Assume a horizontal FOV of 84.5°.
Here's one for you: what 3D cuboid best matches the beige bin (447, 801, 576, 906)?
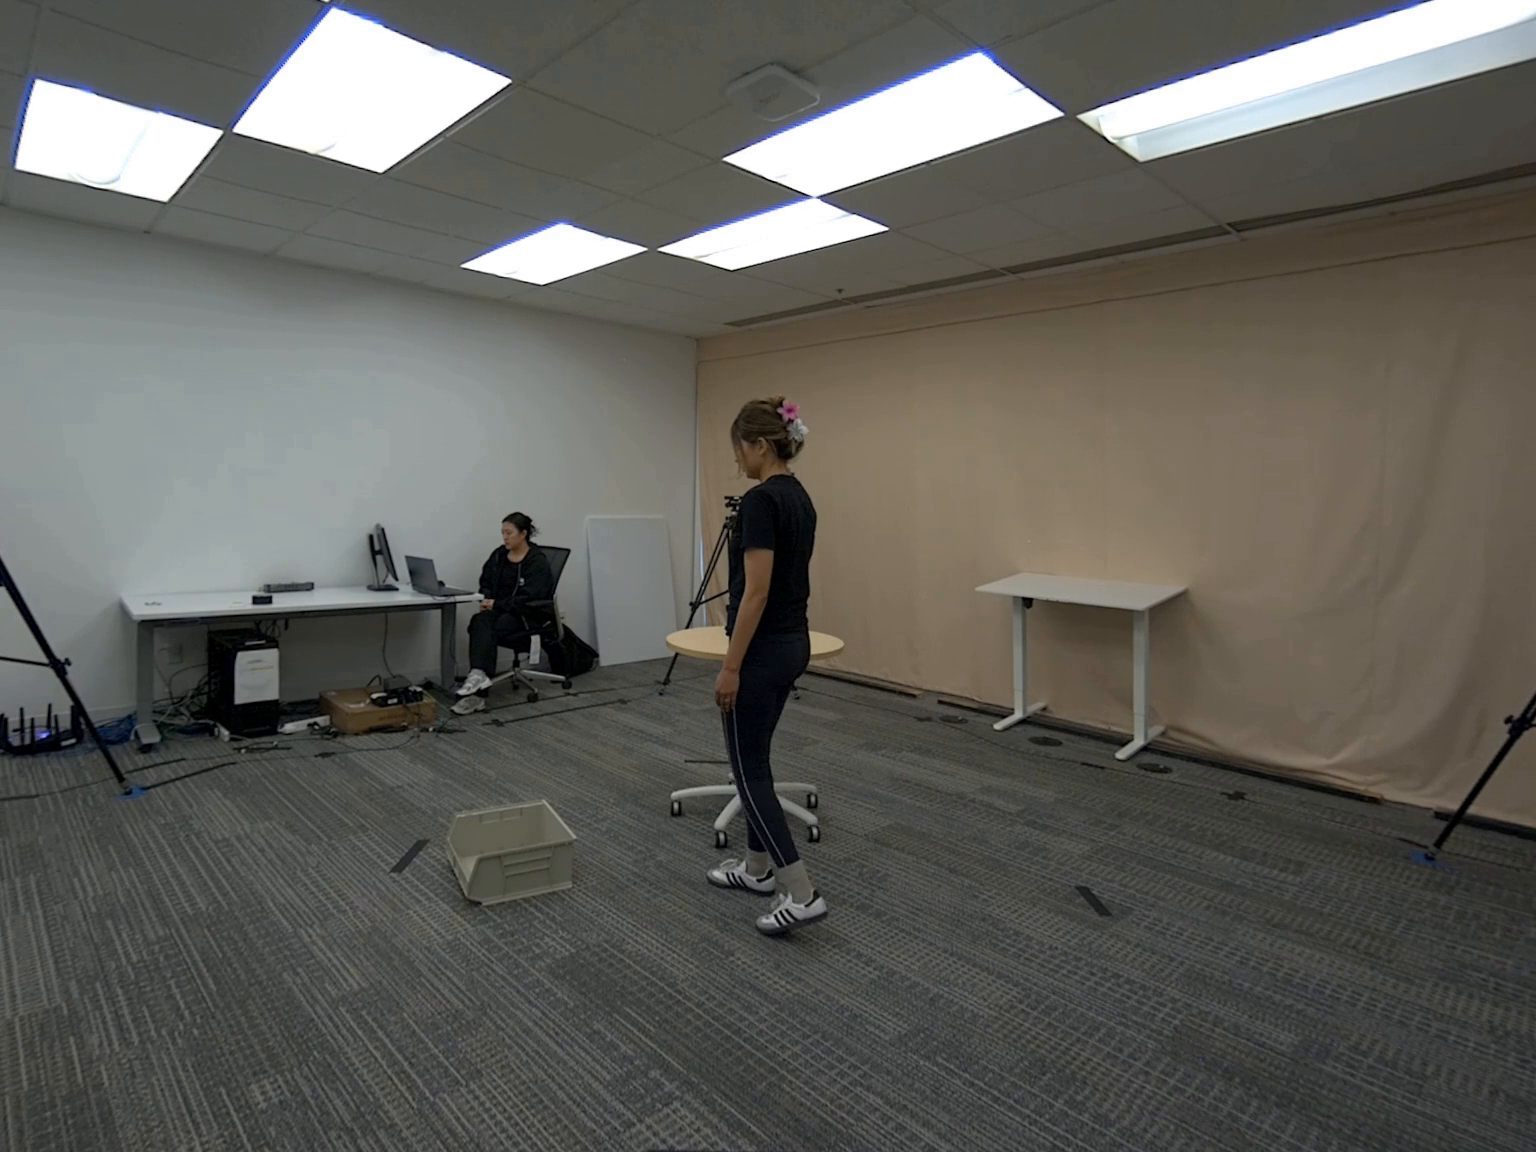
[{"bbox_3d":[-0.953,1.003,3.071,0.370,0.188,0.432,-1,5,-29],"label":"beige bin"}]
